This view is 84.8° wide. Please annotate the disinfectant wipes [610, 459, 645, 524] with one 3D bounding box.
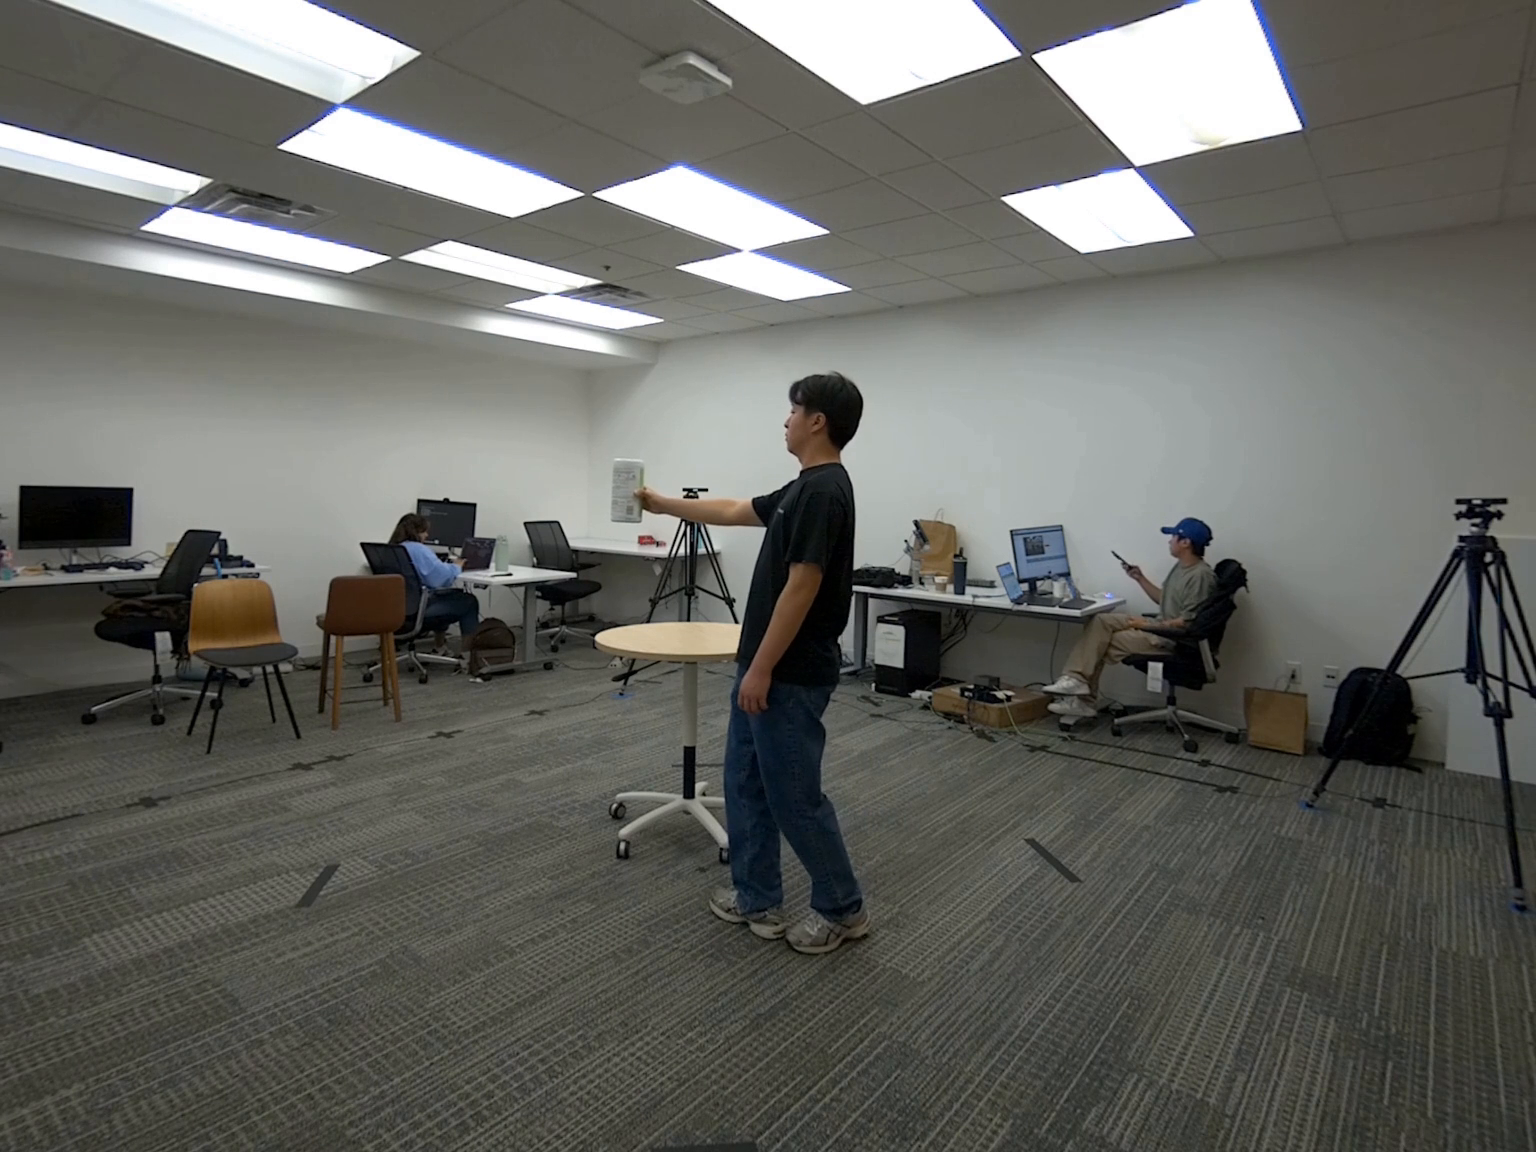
[{"bbox_3d":[-0.491,-0.295,2.917,0.117,0.217,0.118,3,3,-2],"label":"disinfectant wipes"}]
